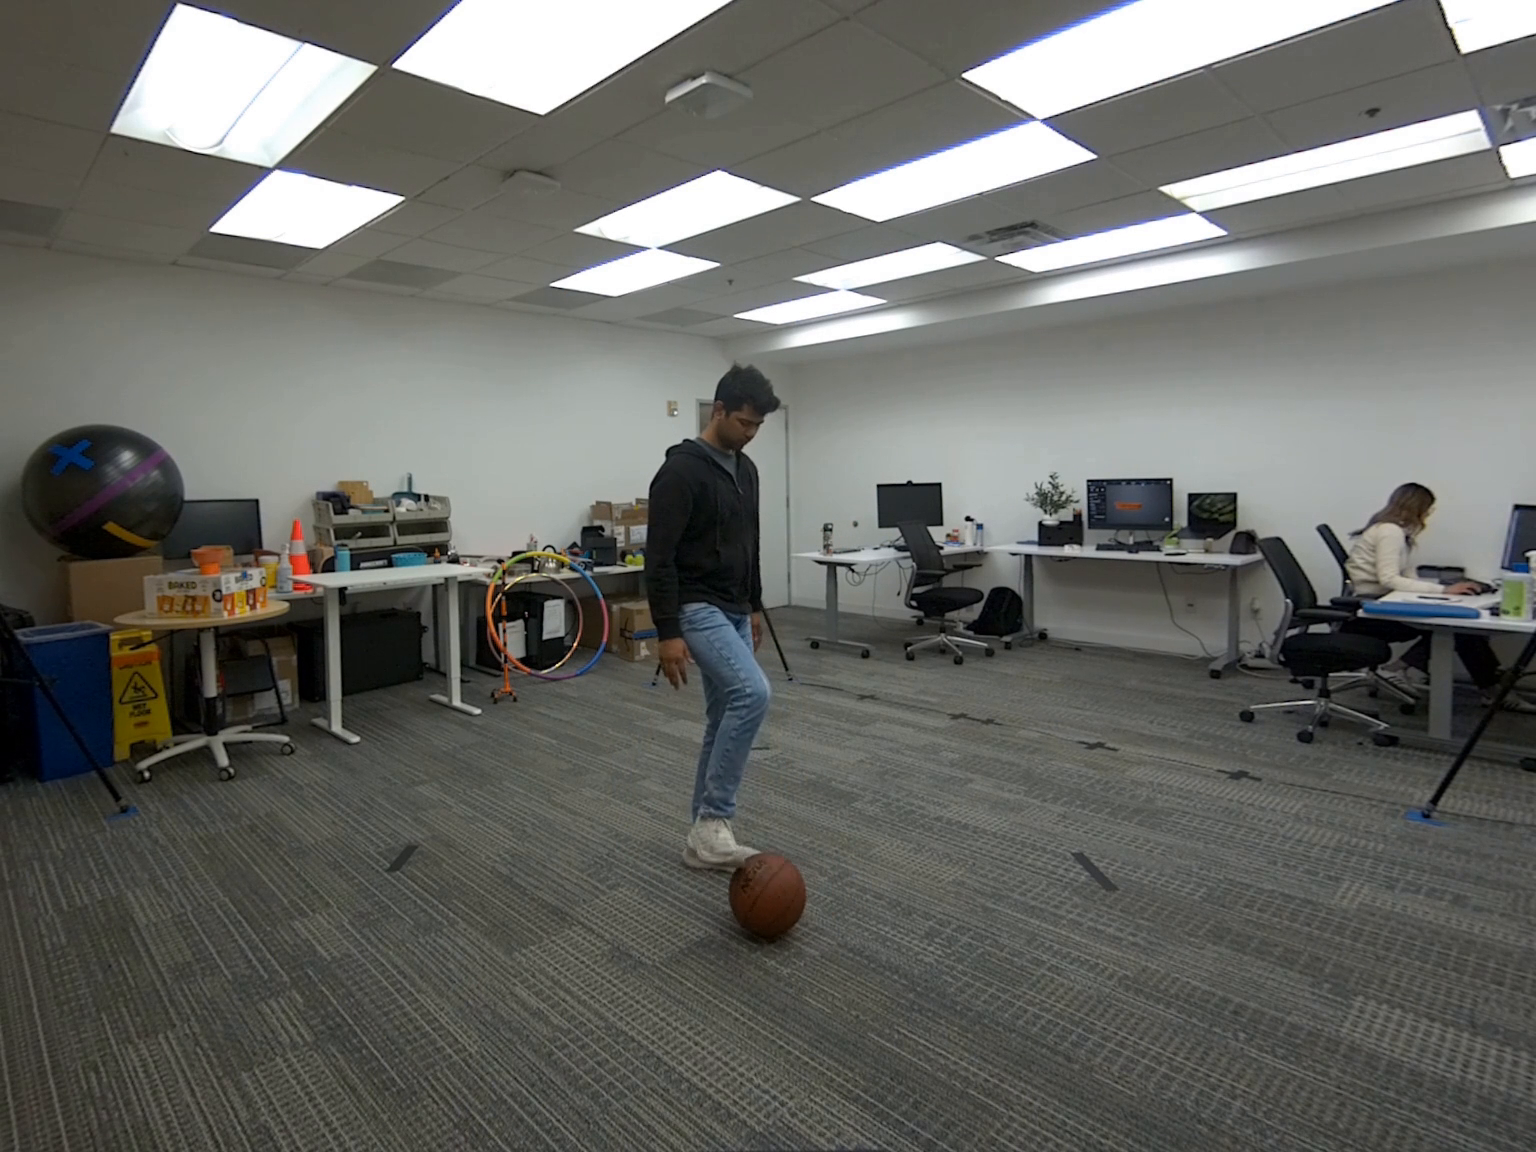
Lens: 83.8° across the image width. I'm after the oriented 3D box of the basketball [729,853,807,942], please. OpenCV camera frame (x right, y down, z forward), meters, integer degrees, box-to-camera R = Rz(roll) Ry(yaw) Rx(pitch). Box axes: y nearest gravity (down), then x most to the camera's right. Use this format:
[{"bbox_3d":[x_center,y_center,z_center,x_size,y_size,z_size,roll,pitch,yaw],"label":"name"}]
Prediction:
[{"bbox_3d":[0.003,0.979,2.632,0.236,0.235,0.237,-1,5,-2],"label":"basketball"}]
